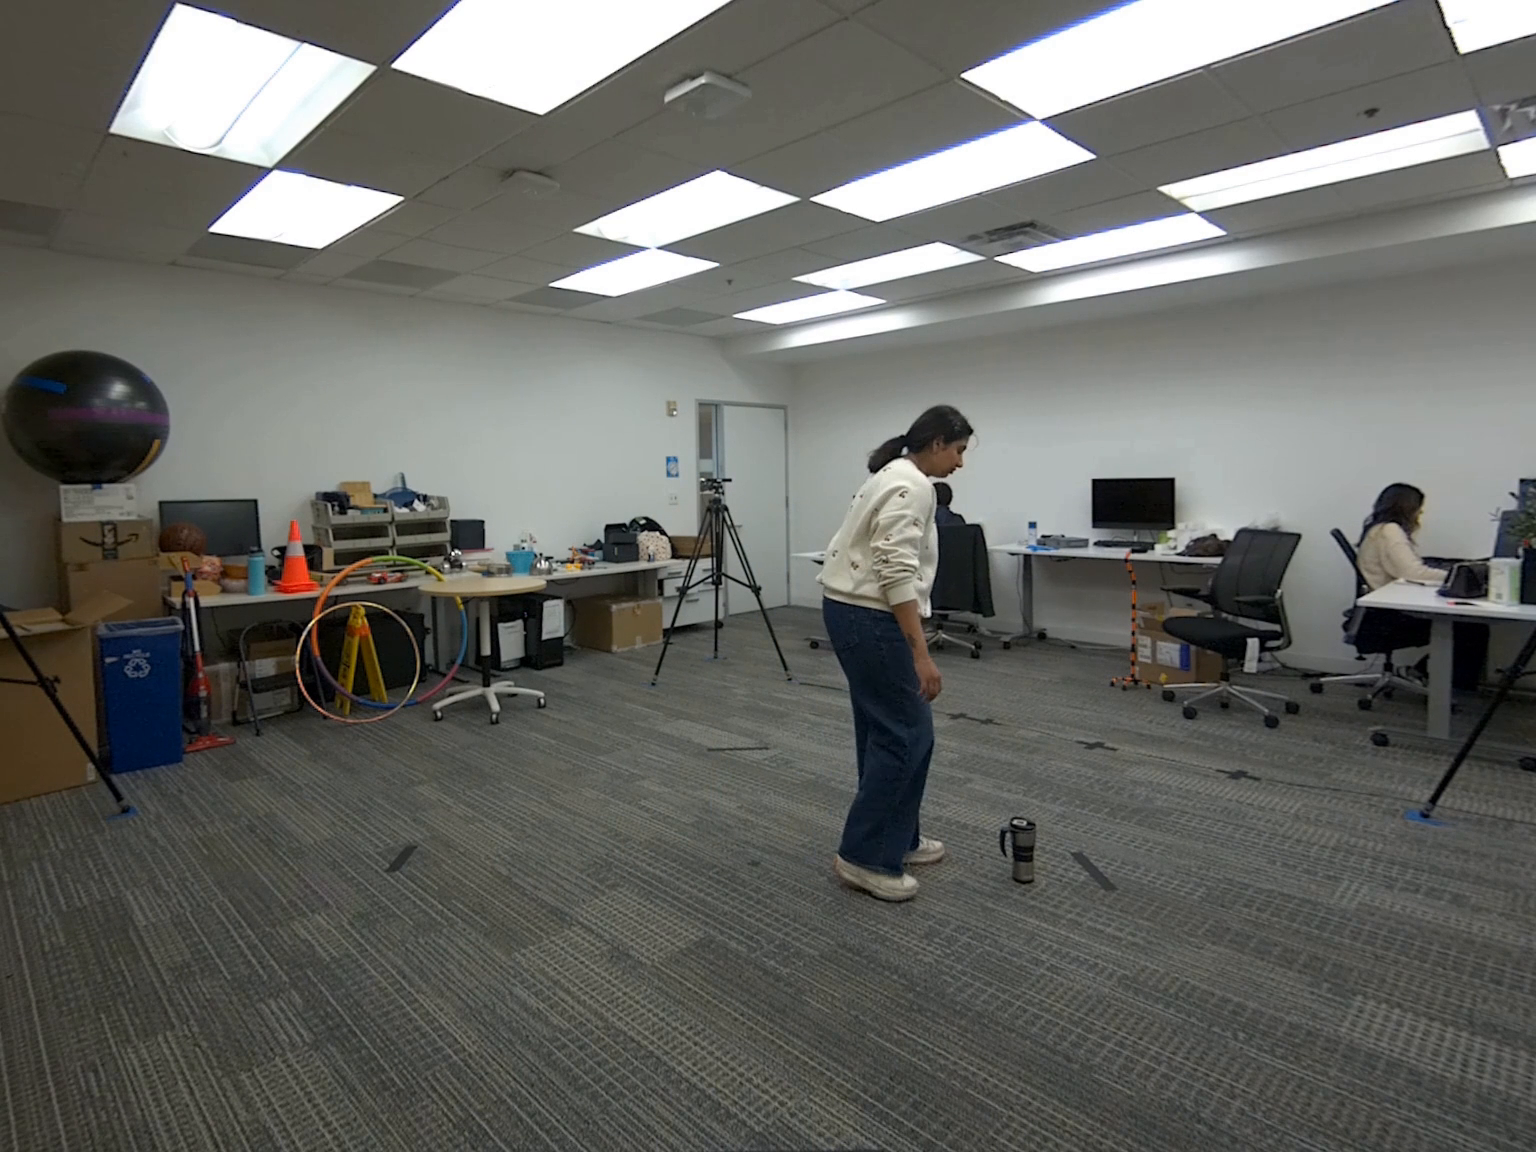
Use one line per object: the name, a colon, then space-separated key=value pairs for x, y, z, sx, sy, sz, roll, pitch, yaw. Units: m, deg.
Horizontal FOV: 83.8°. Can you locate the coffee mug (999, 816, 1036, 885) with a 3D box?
coffee mug: x=0.865 y=0.940 z=2.947 sx=0.126 sy=0.201 sz=0.086 roll=6 pitch=11 yaw=39
